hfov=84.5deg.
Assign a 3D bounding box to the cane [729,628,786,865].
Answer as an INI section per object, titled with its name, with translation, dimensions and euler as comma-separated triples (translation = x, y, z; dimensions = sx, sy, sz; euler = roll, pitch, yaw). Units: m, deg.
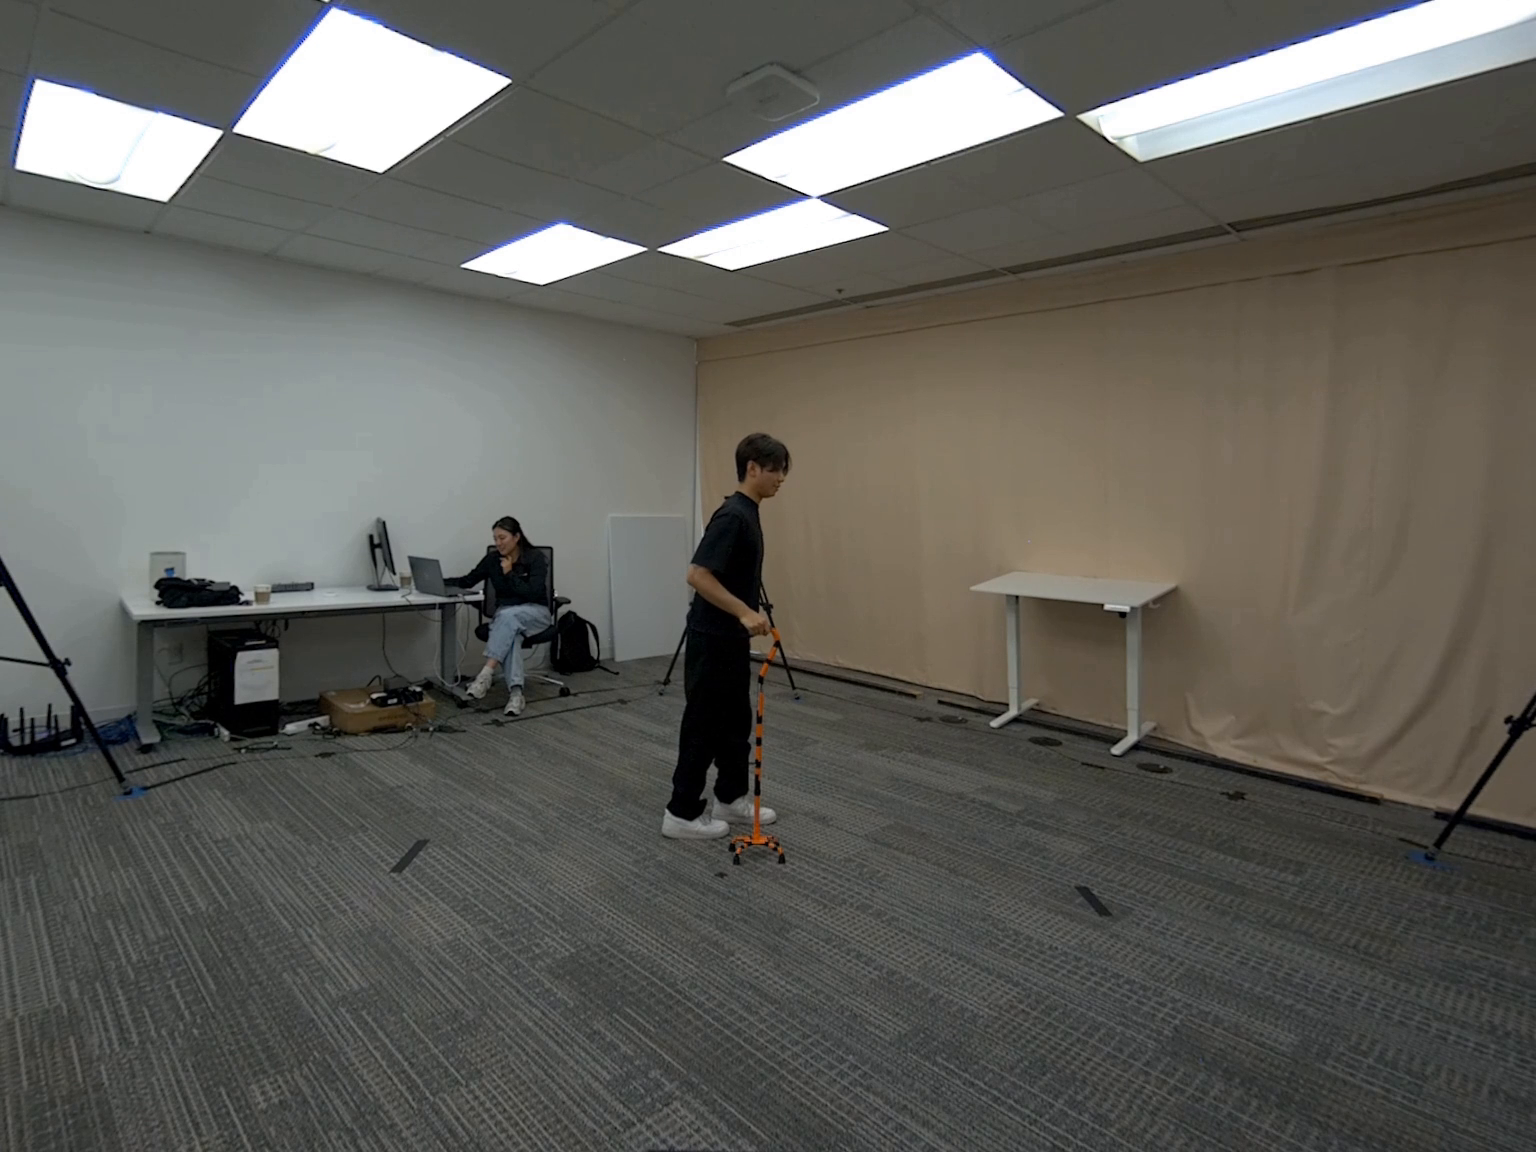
[cane]
translation = -0.033, 0.644, 3.249
dimensions = 0.205, 0.905, 0.153
euler = 1, 4, -10
